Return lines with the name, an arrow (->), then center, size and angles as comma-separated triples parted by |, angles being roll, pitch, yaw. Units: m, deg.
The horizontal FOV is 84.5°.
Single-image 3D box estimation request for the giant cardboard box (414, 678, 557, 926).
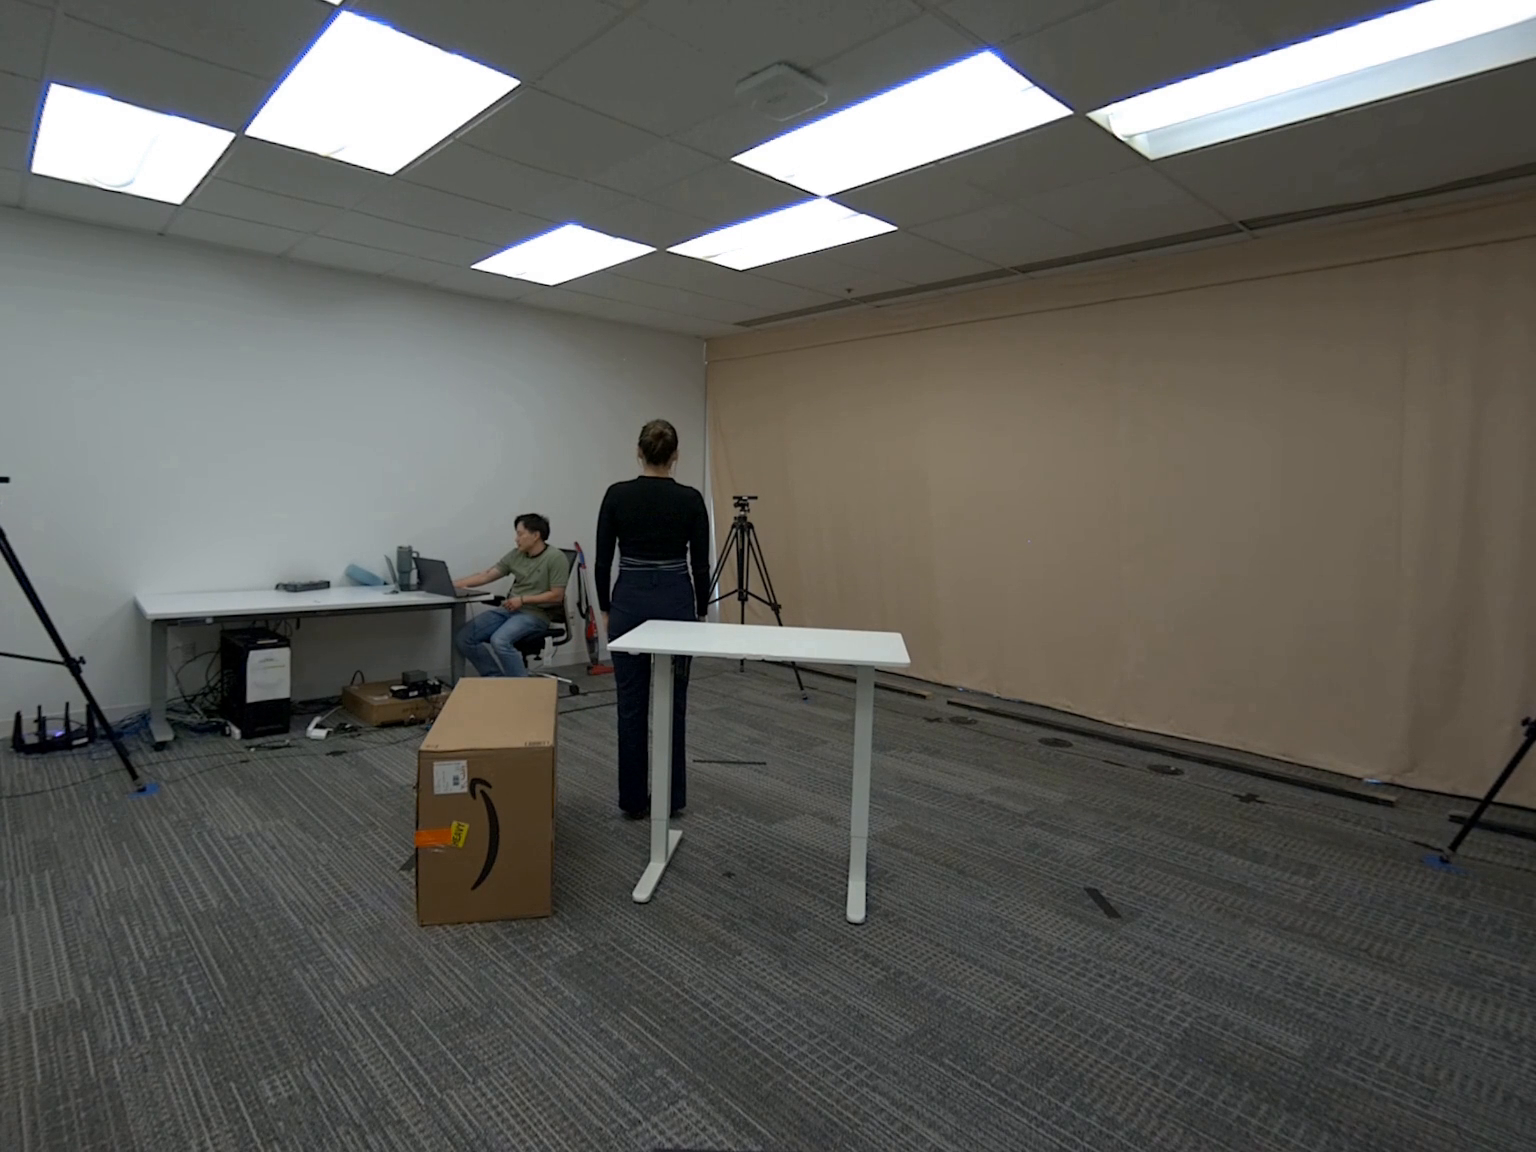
giant cardboard box -> -1.037, 0.783, 3.201 | 0.422, 0.576, 1.039 | 0, 5, -13
